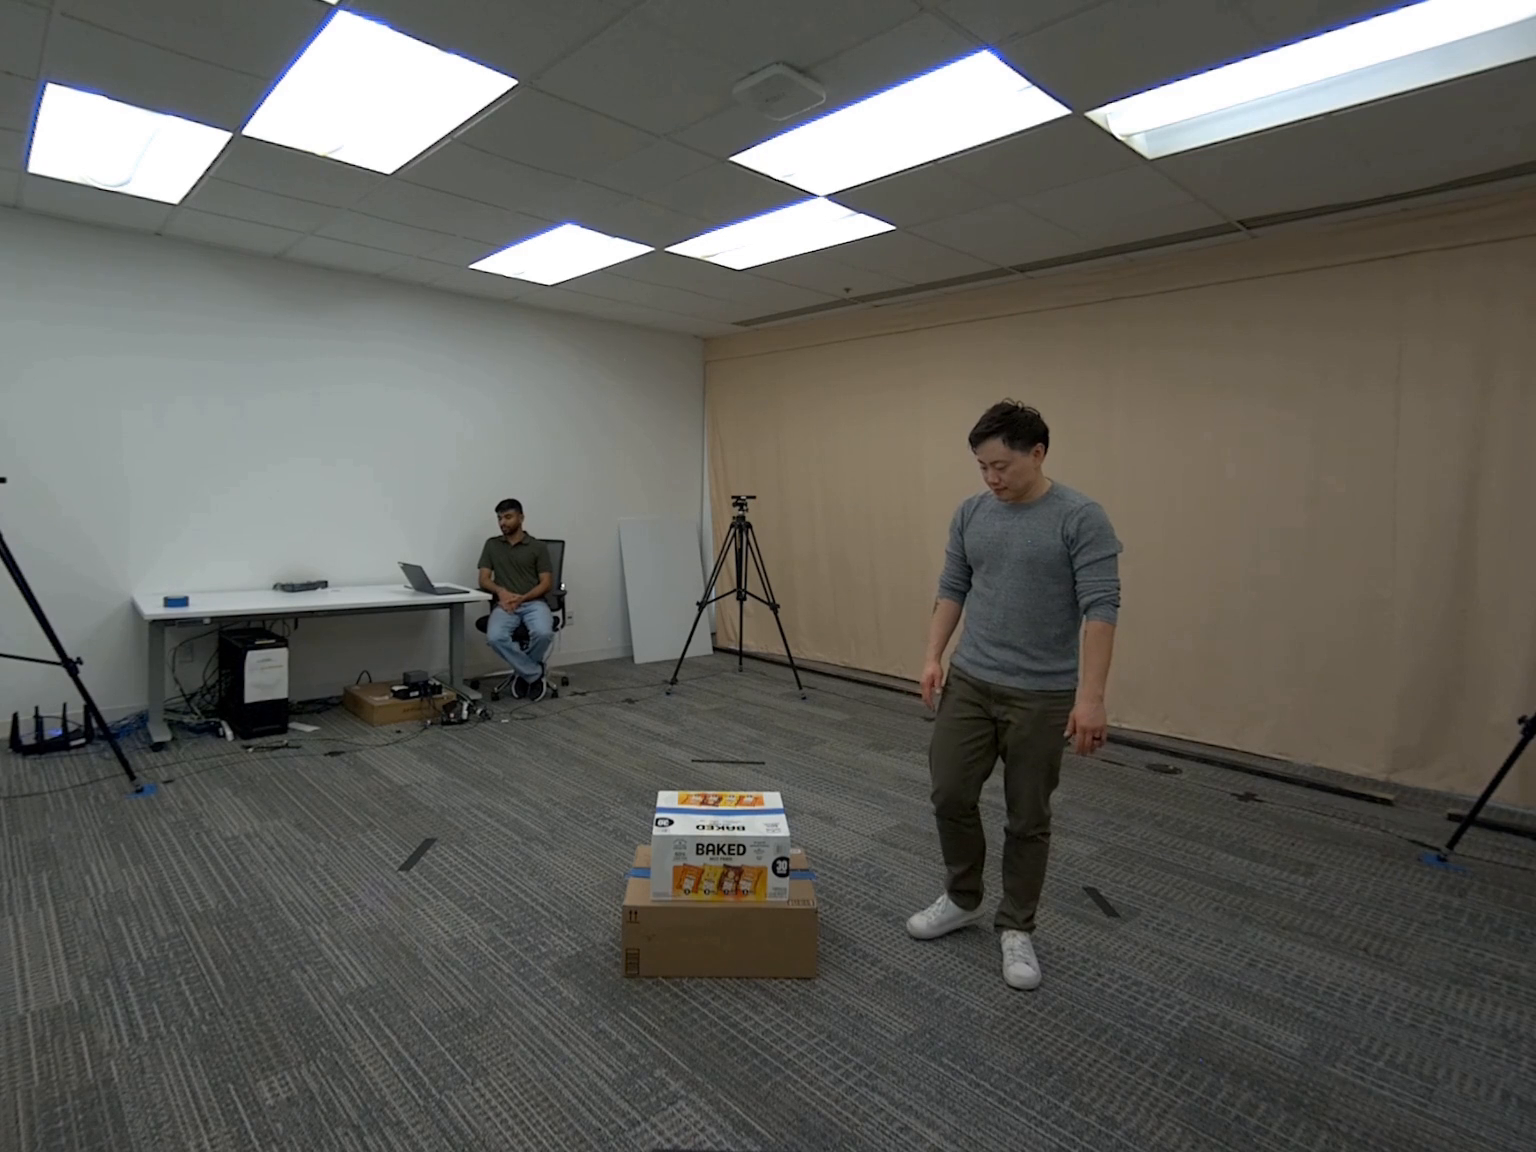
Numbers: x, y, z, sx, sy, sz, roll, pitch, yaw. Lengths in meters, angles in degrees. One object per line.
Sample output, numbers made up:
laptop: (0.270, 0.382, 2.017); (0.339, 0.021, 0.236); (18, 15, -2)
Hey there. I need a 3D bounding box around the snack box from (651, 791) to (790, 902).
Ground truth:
snack box: (-0.152, 0.828, 2.606); (0.404, 0.205, 0.342); (1, 6, -3)
